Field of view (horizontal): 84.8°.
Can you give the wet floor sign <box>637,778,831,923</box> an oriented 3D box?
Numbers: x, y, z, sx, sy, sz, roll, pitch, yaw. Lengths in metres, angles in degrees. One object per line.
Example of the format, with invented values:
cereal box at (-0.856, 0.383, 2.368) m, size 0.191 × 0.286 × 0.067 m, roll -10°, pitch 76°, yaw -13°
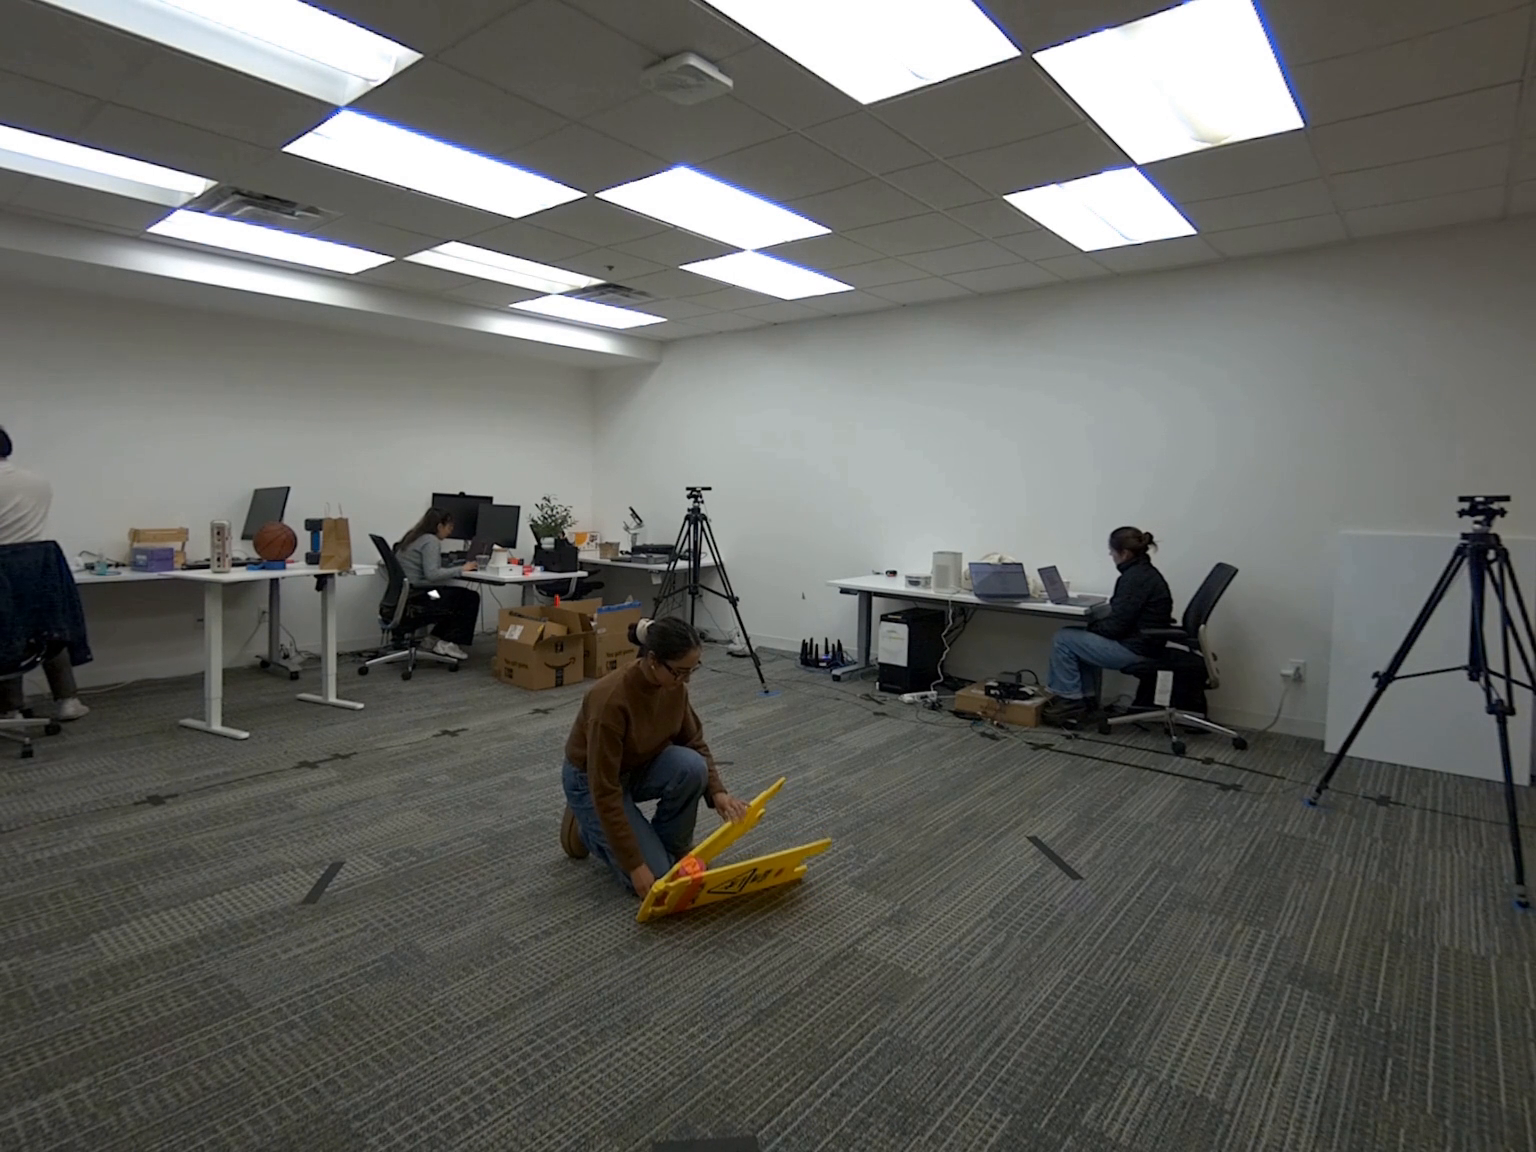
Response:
wet floor sign at (-0.158, 0.967, 2.838) m, size 0.631 × 0.279 × 0.300 m, roll -15°, pitch 54°, yaw -39°
